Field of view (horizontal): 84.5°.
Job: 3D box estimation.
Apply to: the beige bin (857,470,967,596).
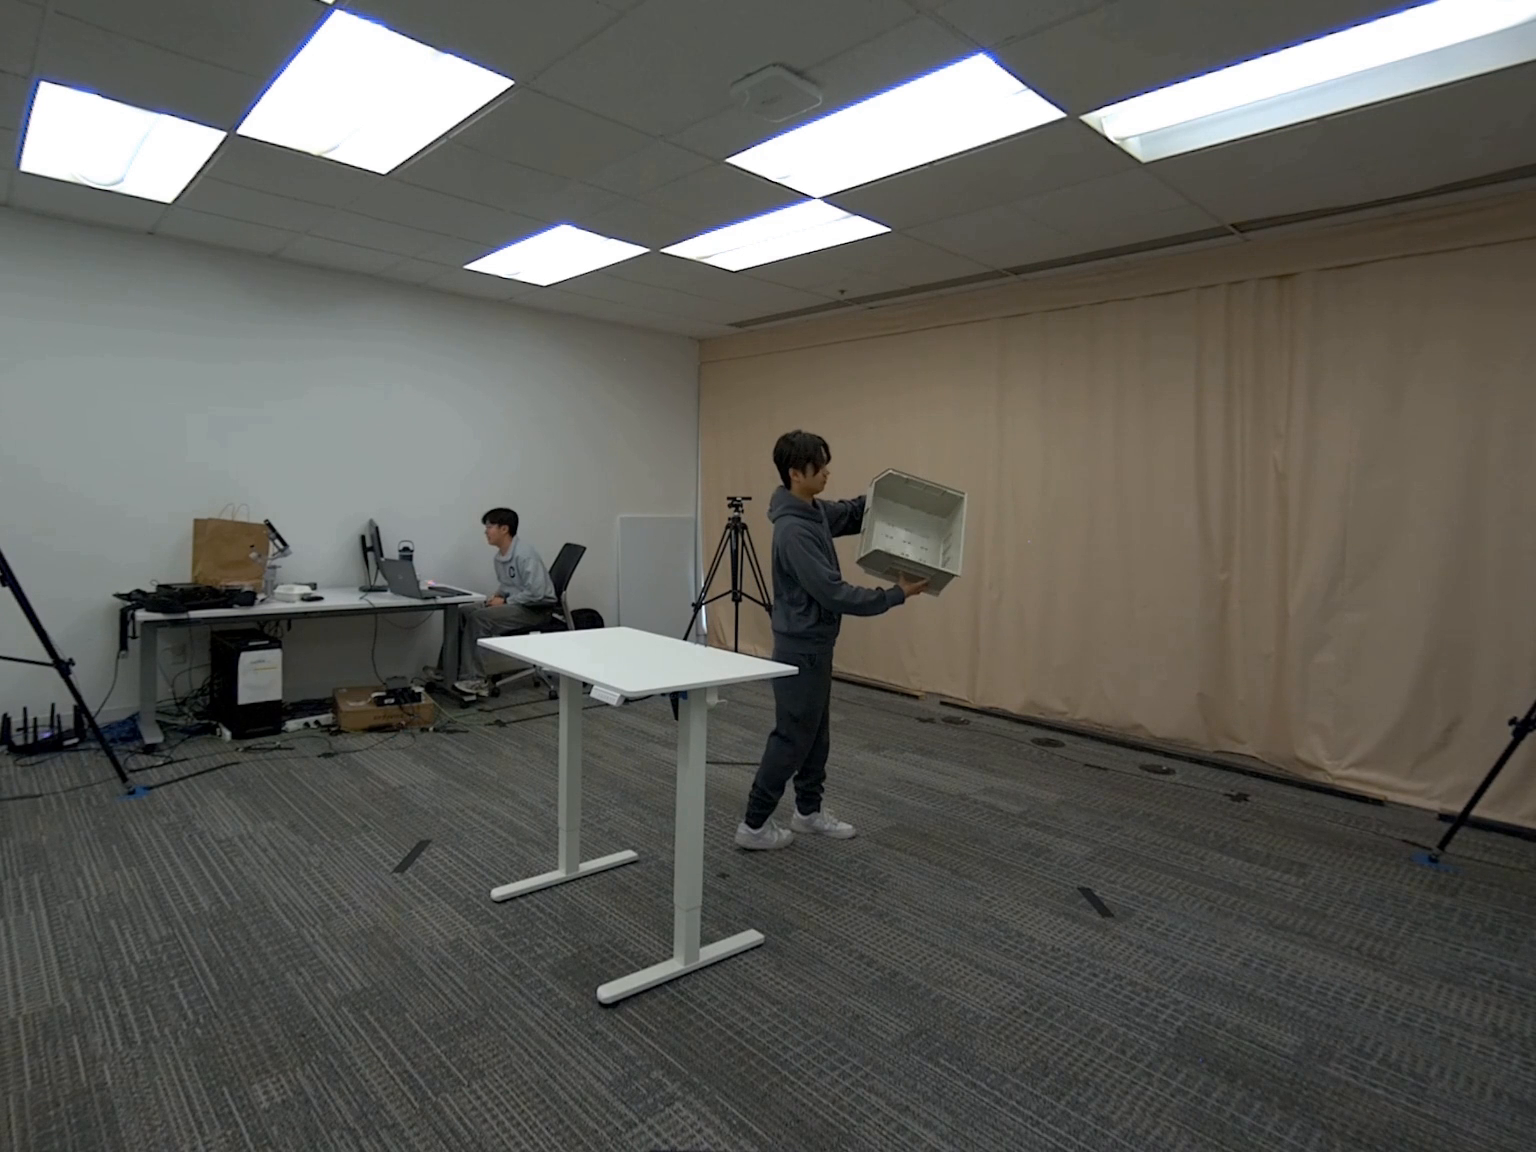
[{"bbox_3d":[0.564,-0.182,3.379,0.376,0.428,0.187,17,-35,-5],"label":"beige bin"}]
